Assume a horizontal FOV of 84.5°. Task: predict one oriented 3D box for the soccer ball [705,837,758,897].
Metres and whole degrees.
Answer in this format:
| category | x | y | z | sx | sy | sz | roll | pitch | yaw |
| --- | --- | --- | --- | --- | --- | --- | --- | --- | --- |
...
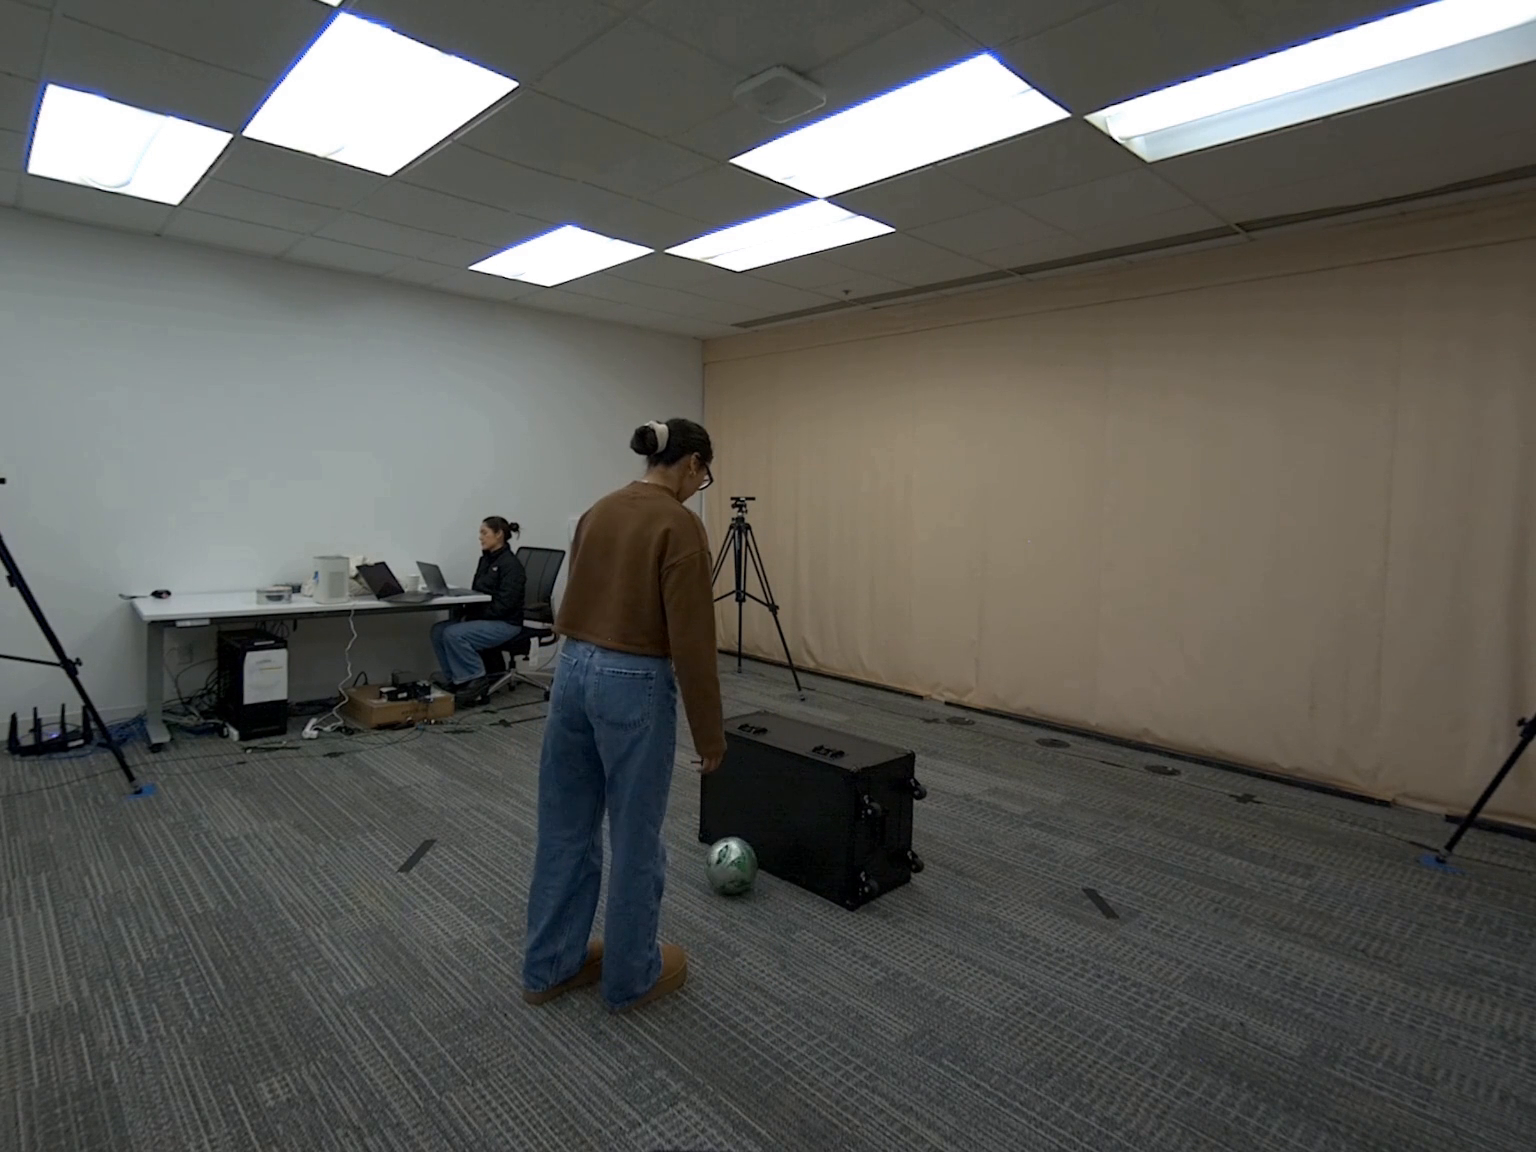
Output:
| category | x | y | z | sx | sy | sz | roll | pitch | yaw |
| --- | --- | --- | --- | --- | --- | --- | --- | --- | --- |
| soccer ball | -0.136 | 1.013 | 2.983 | 0.187 | 0.187 | 0.188 | 1 | 4 | -1 |
